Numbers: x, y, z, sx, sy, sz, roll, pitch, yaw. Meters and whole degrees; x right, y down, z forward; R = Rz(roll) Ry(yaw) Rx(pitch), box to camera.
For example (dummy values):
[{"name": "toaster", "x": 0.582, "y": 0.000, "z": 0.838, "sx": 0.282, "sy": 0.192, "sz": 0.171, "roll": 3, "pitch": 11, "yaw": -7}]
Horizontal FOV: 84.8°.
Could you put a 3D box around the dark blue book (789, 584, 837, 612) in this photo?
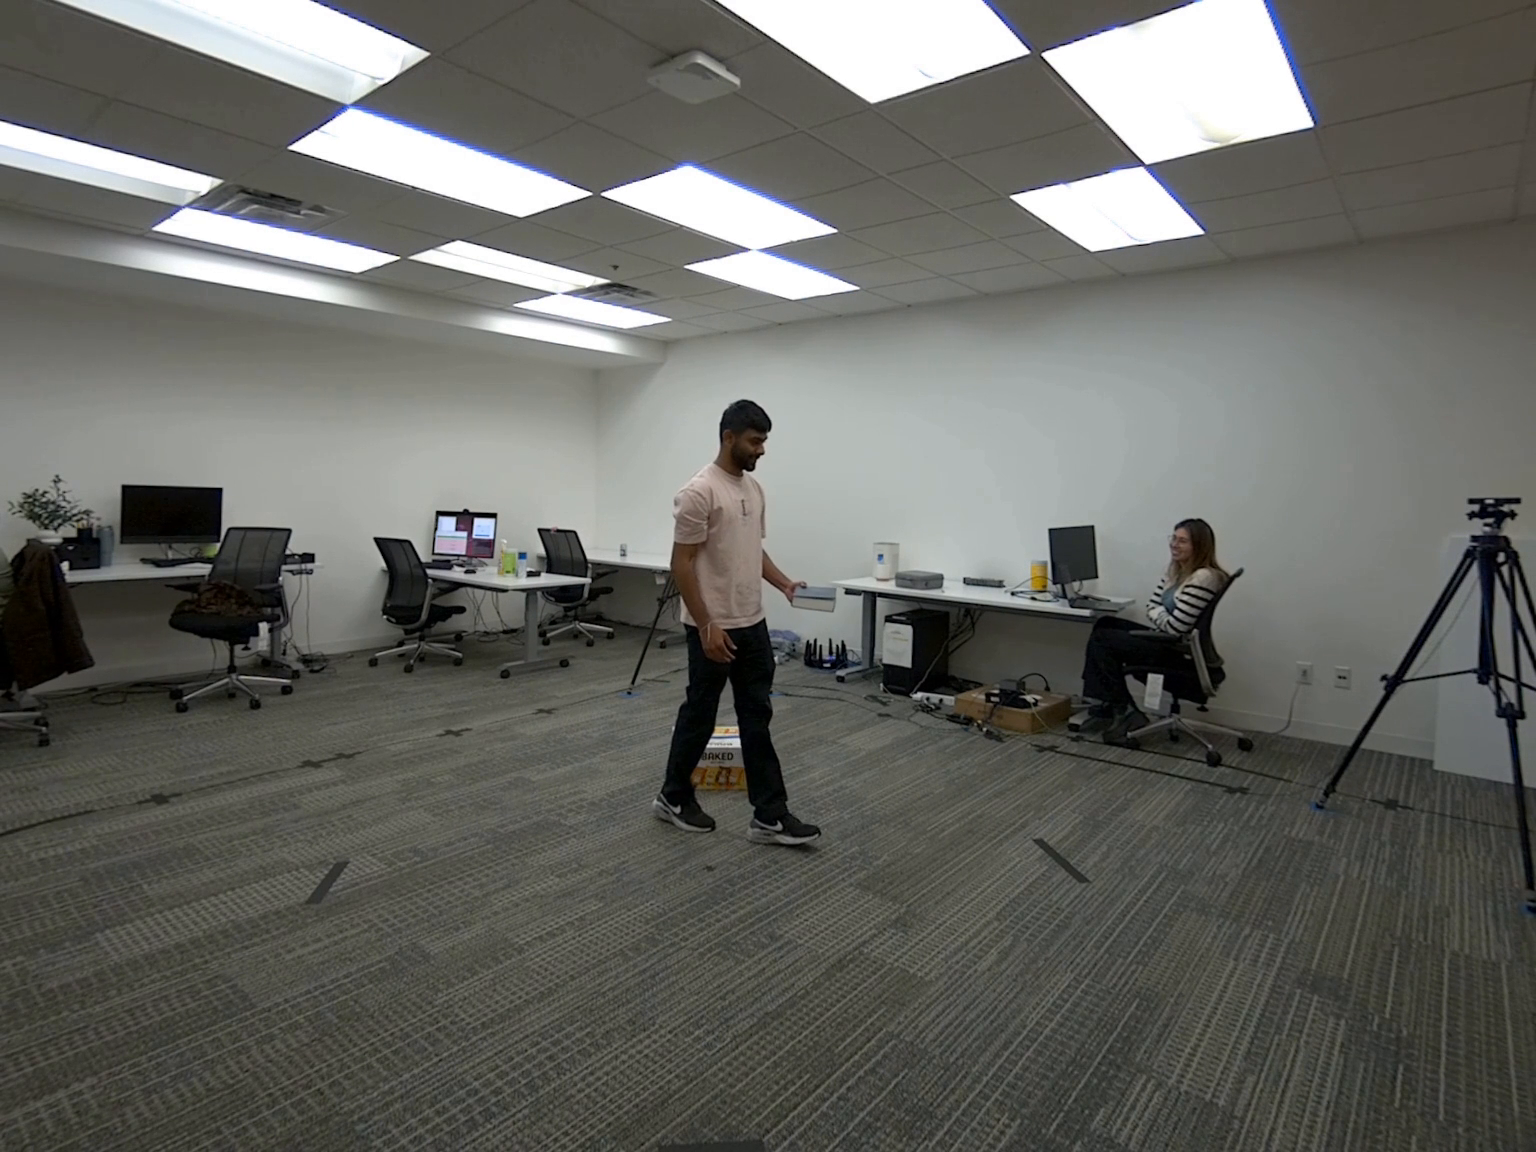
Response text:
[{"name": "dark blue book", "x": 0.150, "y": 0.081, "z": 3.337, "sx": 0.165, "sy": 0.045, "sz": 0.244, "roll": 5, "pitch": 9, "yaw": 7}]
